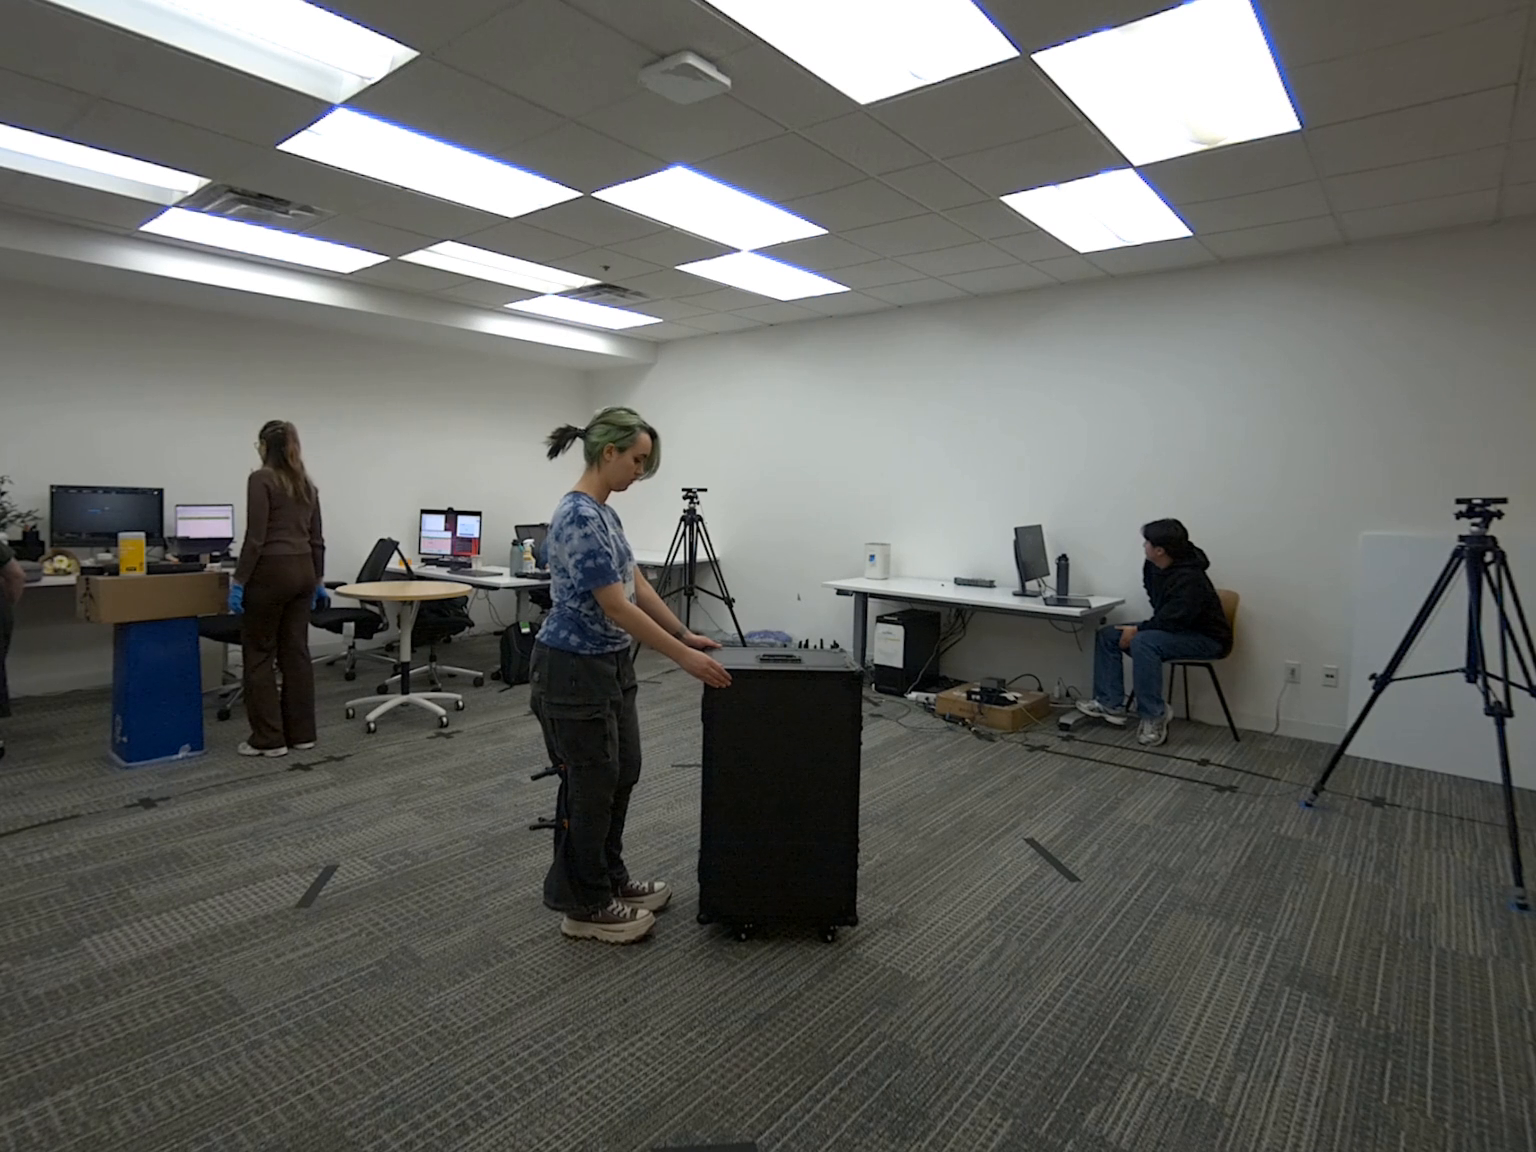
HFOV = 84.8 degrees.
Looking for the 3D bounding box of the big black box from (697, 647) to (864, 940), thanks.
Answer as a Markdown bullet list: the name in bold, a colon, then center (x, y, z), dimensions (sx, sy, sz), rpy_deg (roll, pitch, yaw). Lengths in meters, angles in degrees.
- **big black box**: center (0.016, 0.694, 2.745), dimensions (0.521, 0.859, 0.398), rpy_deg (1, 3, -2)
